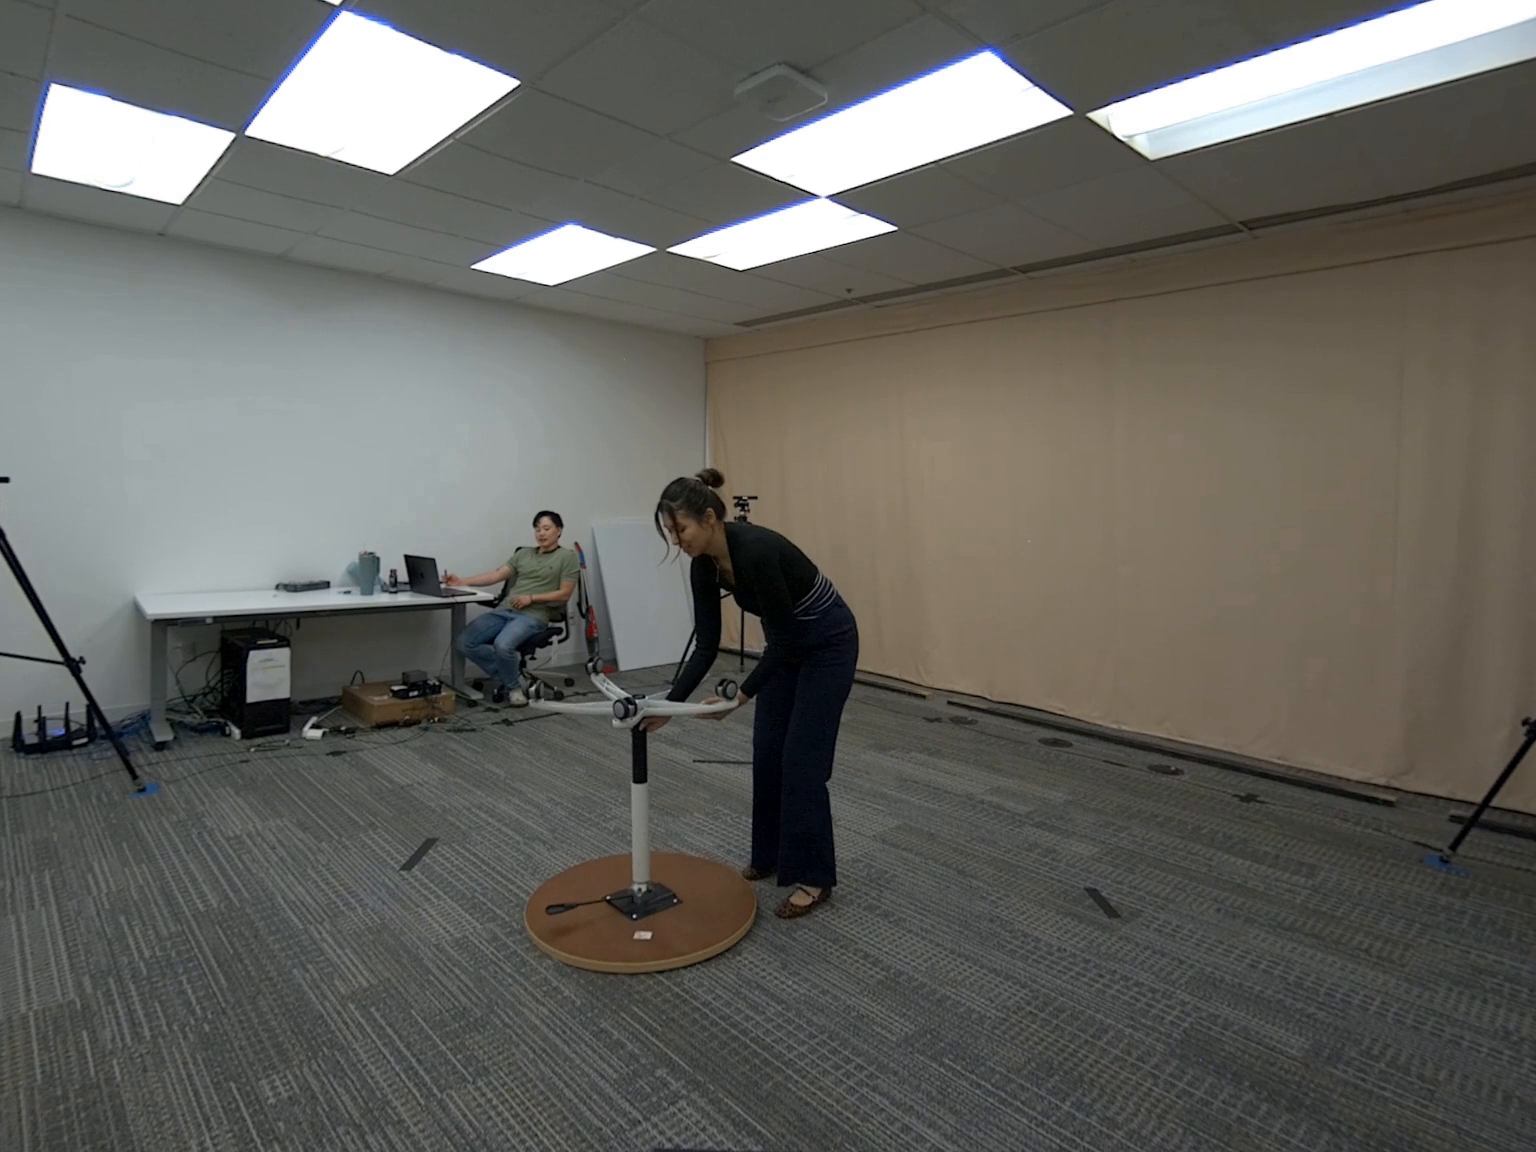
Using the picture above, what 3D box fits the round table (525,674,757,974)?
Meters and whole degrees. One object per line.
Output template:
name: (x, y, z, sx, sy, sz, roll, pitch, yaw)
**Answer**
round table: (-0.429, 0.725, 2.790, 0.763, 0.791, 0.767, 0, 5, -1)
